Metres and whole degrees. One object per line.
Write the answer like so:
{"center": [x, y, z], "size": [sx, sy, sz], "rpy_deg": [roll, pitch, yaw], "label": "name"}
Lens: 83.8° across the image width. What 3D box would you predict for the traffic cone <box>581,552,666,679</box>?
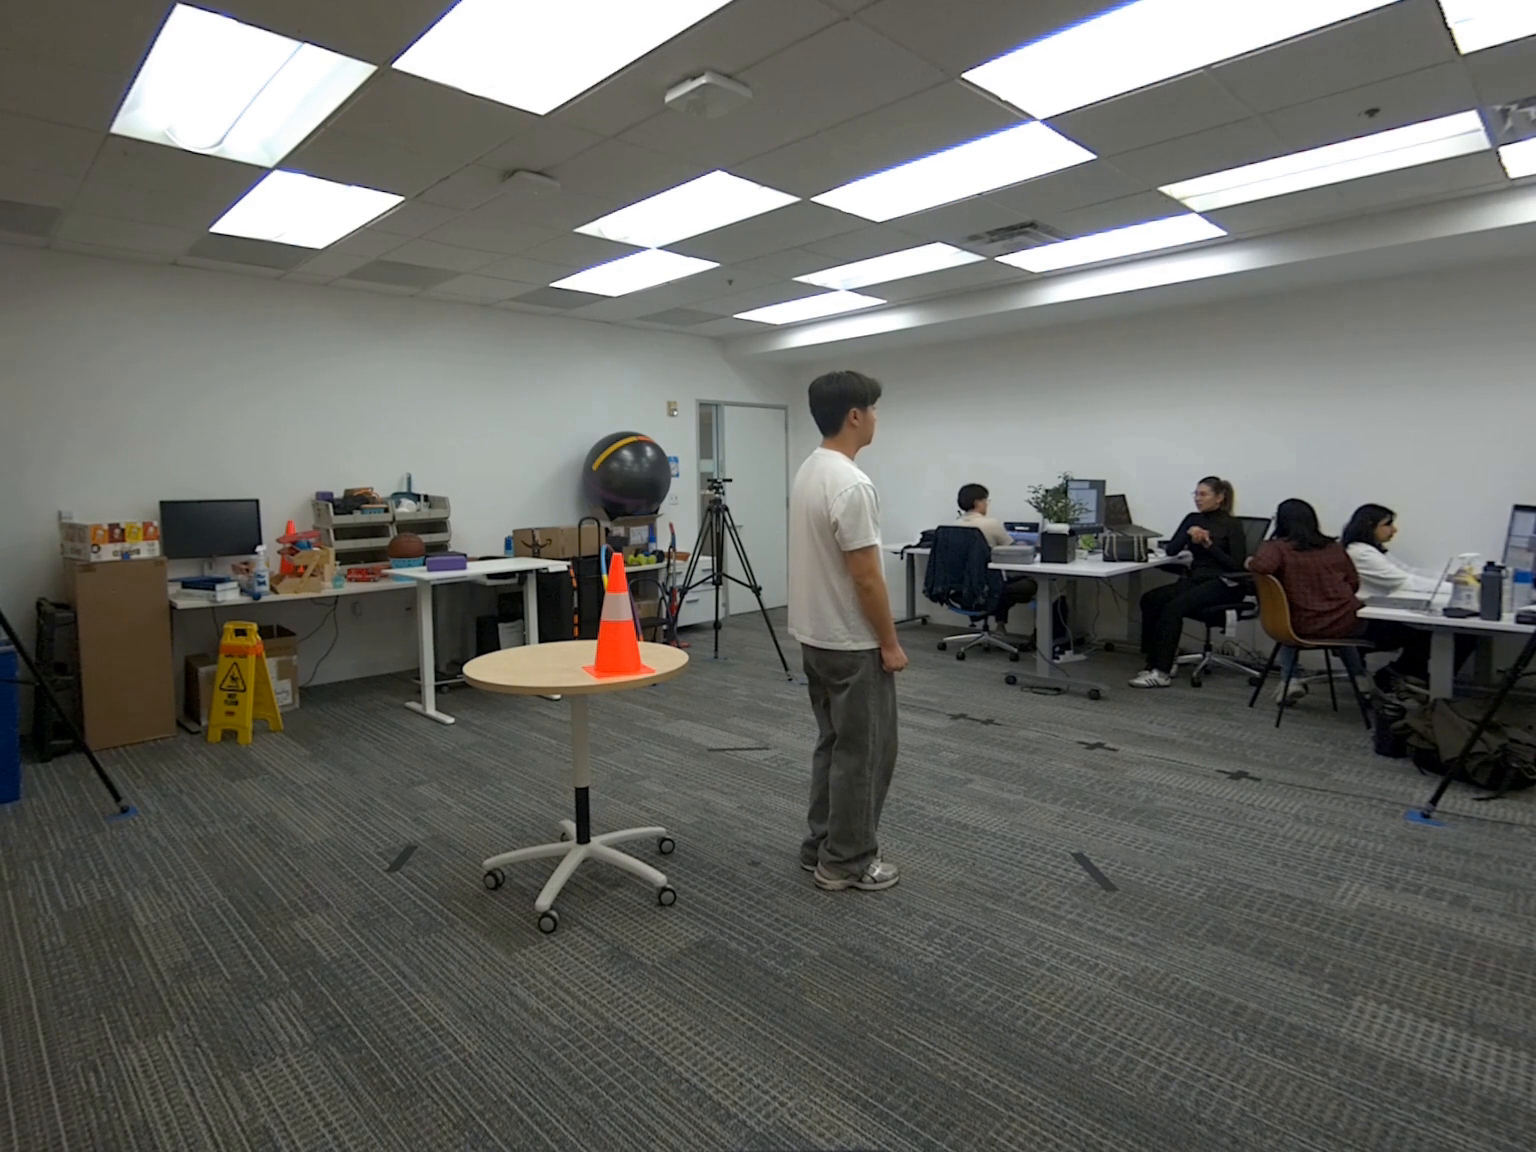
{"center": [-0.474, 0.117, 2.793], "size": [0.198, 0.384, 0.210], "rpy_deg": [0, 0, -33], "label": "traffic cone"}
